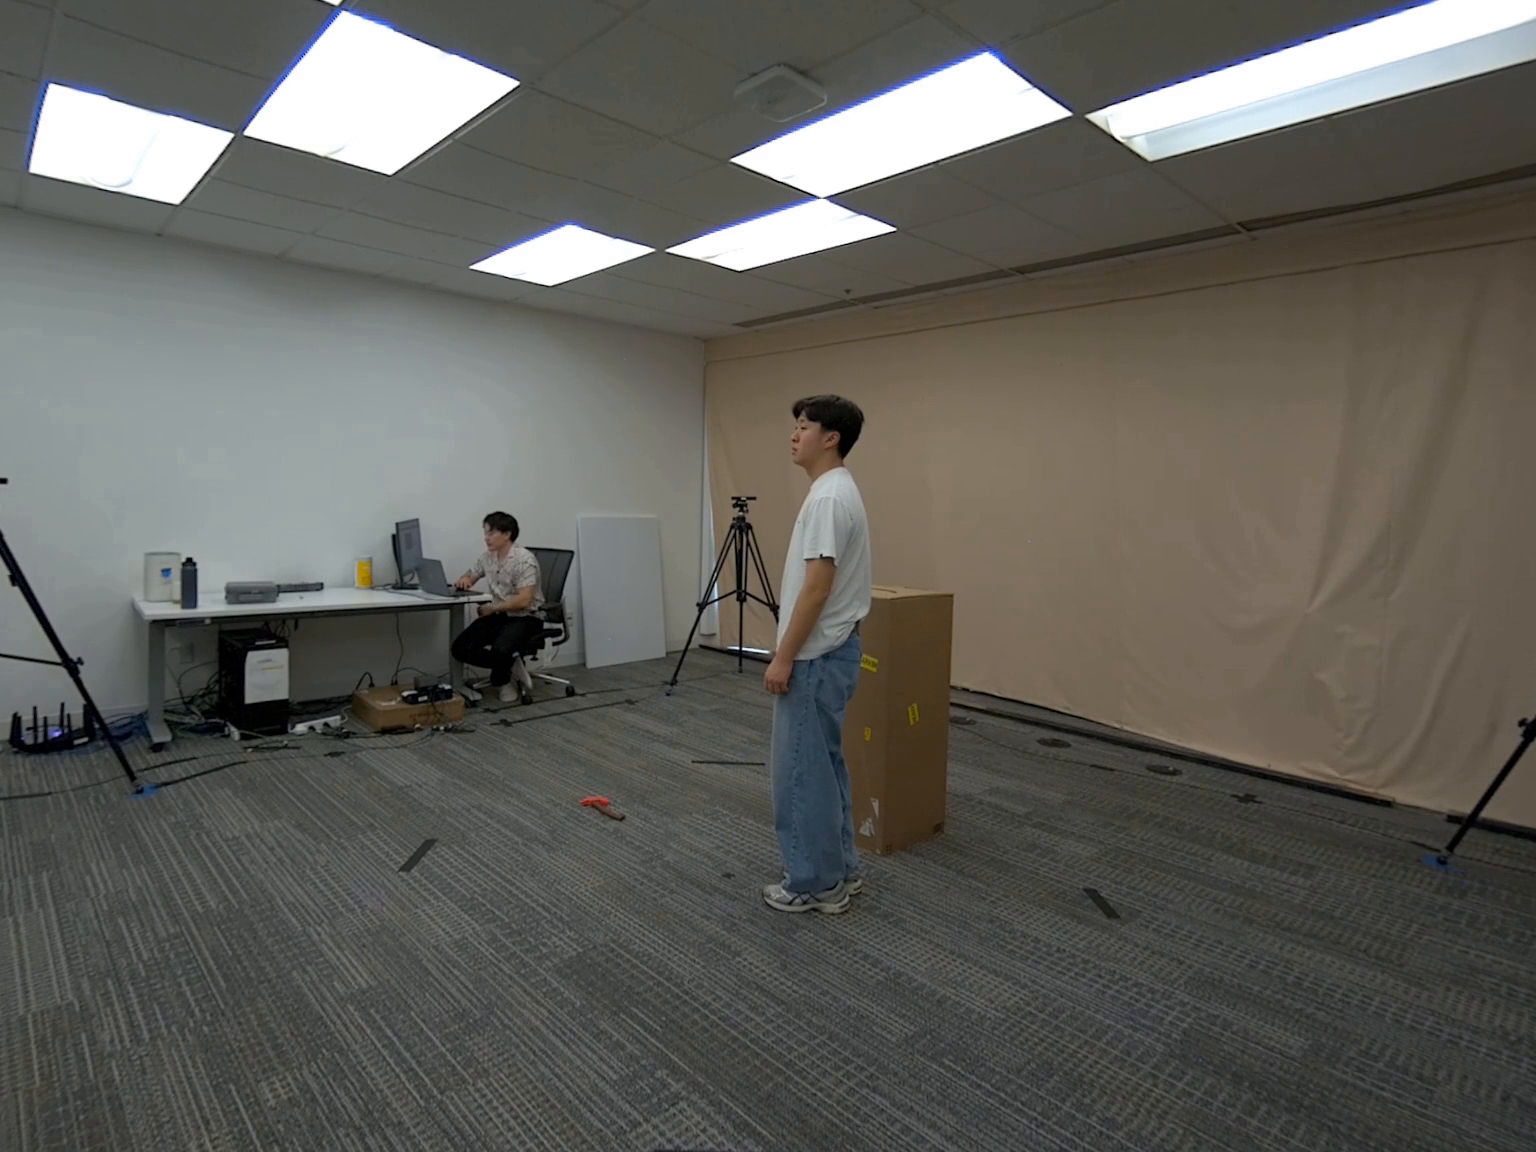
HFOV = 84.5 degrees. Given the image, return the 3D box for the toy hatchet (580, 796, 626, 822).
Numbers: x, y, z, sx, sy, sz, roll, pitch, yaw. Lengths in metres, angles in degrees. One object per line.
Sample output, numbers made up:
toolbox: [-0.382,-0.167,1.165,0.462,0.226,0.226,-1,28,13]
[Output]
toy hatchet: [-0.708,1.019,3.729,0.277,0.029,0.128,8,6,38]
